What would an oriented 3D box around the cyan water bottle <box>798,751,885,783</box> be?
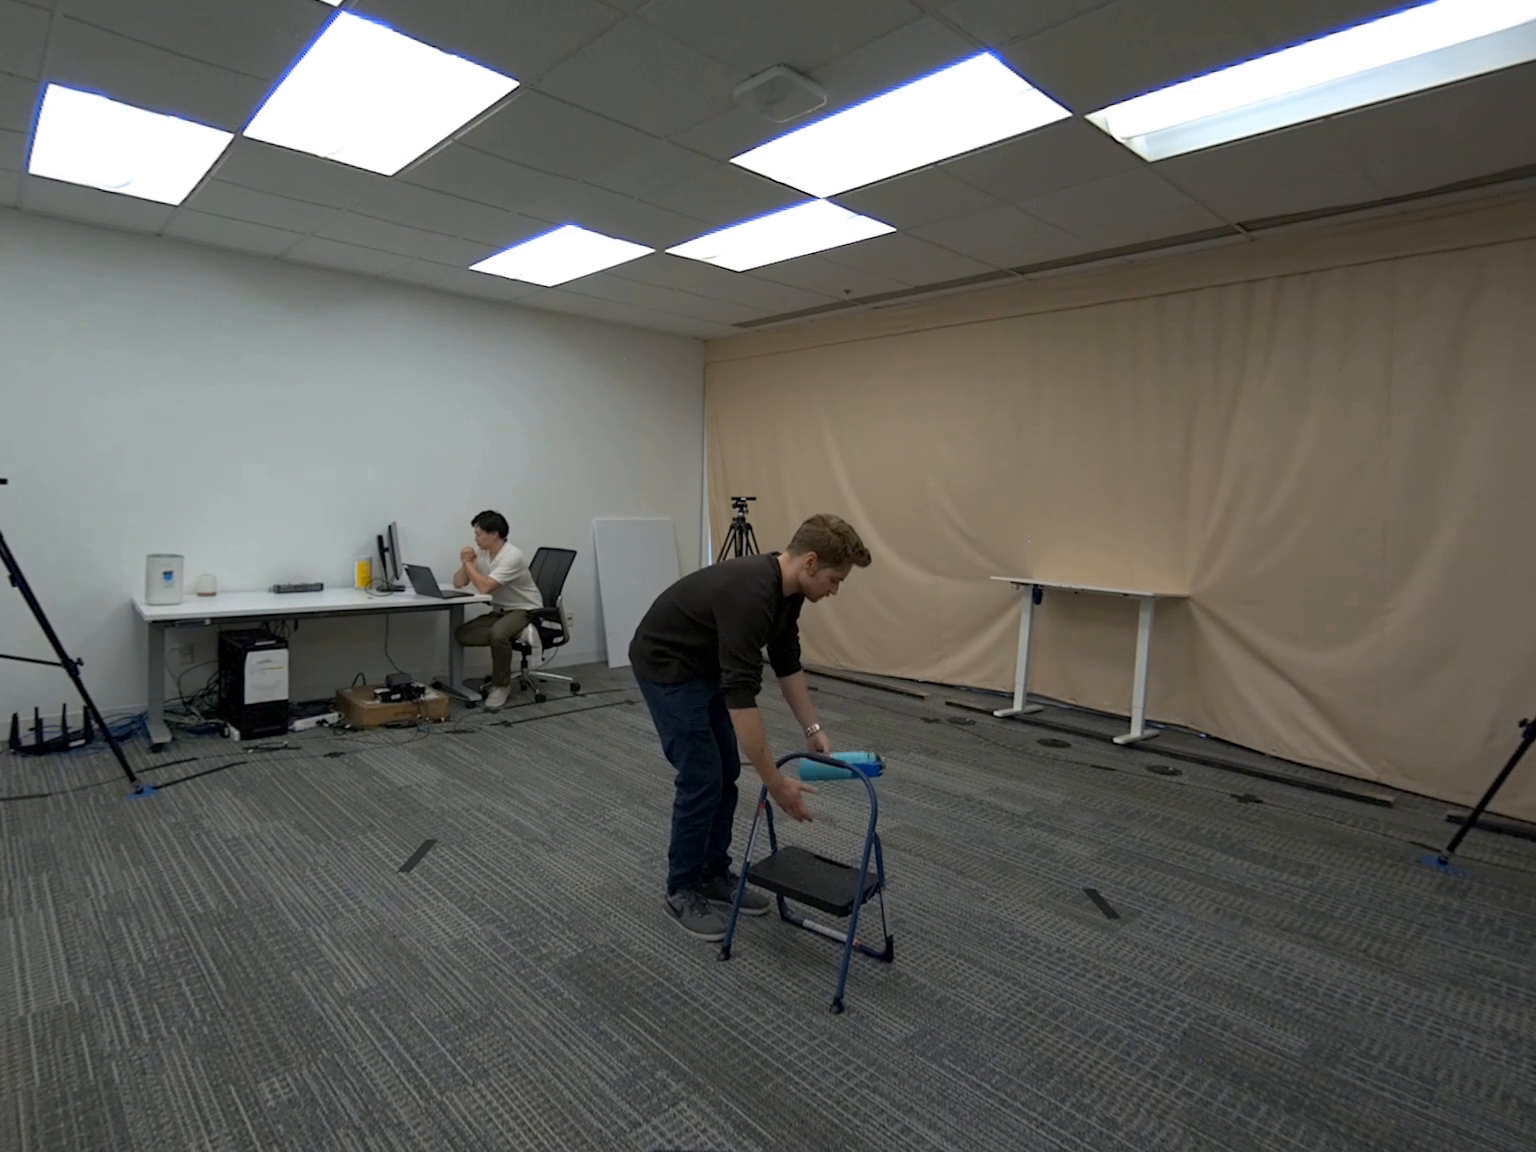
[{"bbox_3d":[0.242,0.631,2.801,0.286,0.092,0.091,-6,2,15],"label":"cyan water bottle"}]
